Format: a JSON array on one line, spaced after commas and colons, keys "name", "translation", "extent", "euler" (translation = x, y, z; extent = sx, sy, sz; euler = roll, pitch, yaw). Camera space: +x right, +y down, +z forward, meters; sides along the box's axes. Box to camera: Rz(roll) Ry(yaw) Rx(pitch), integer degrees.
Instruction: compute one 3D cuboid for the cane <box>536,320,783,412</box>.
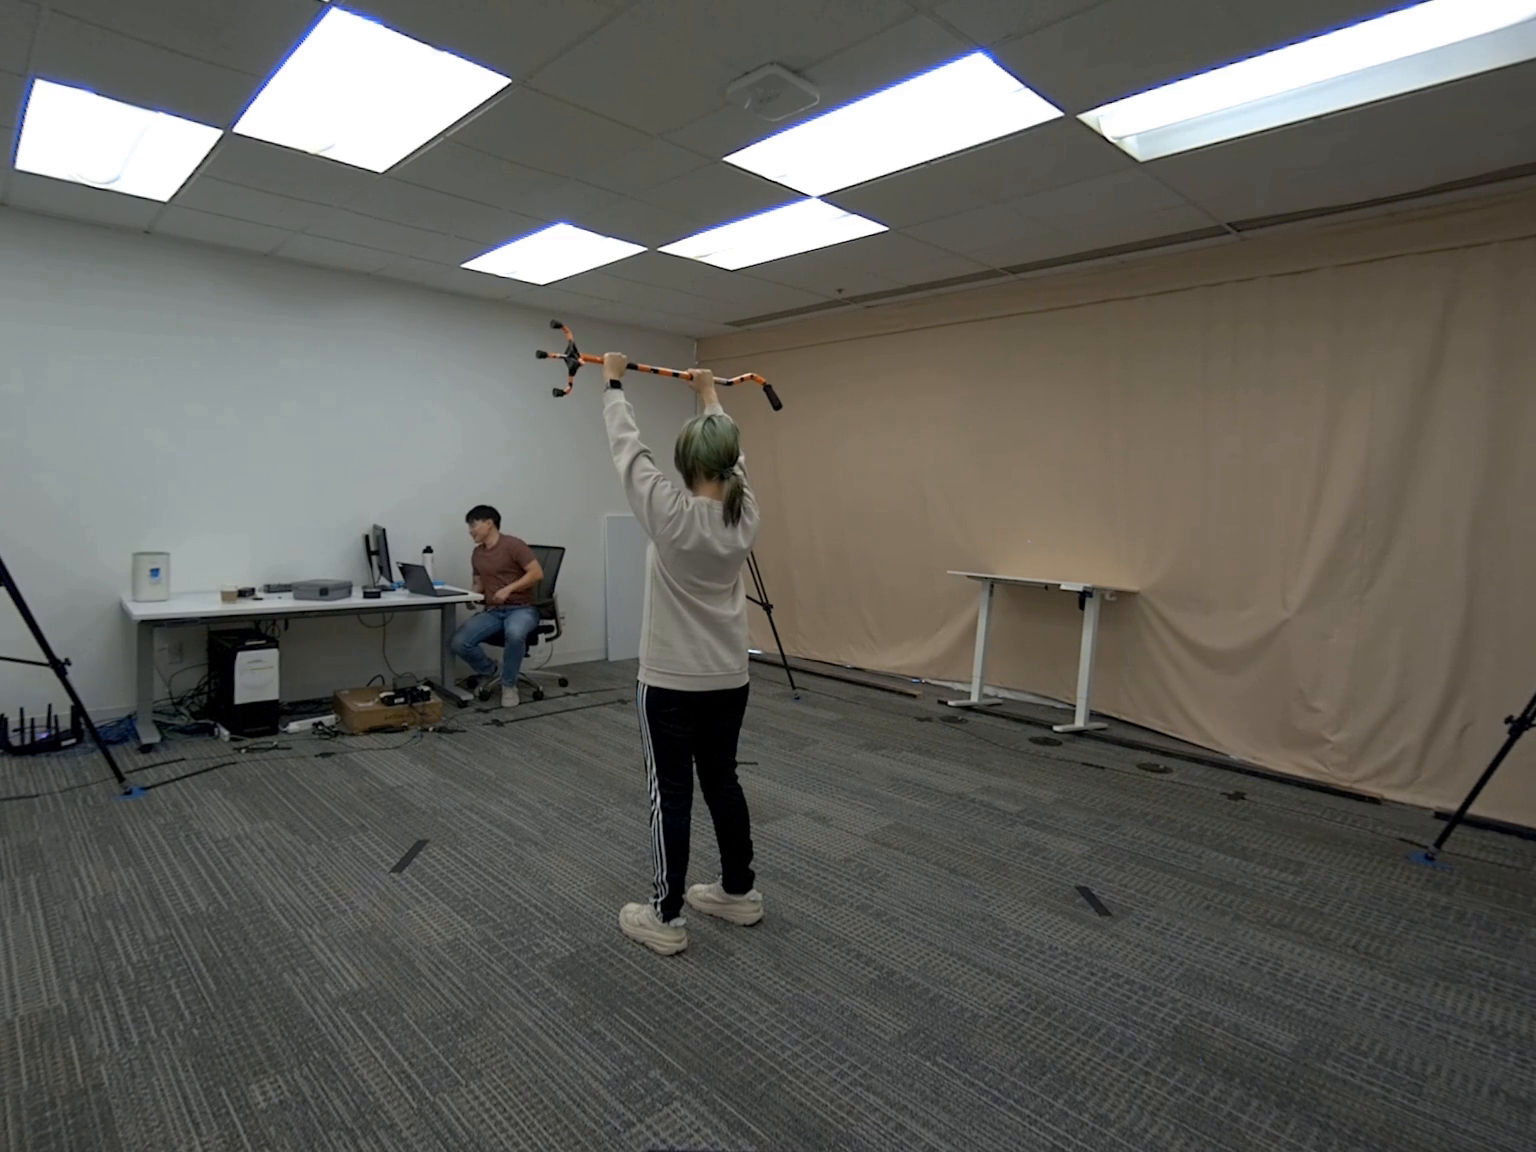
[{"name": "cane", "translation": [-0.331, -0.684, 2.894], "extent": [0.887, 0.211, 0.151], "euler": [-1, -36, -40]}]
